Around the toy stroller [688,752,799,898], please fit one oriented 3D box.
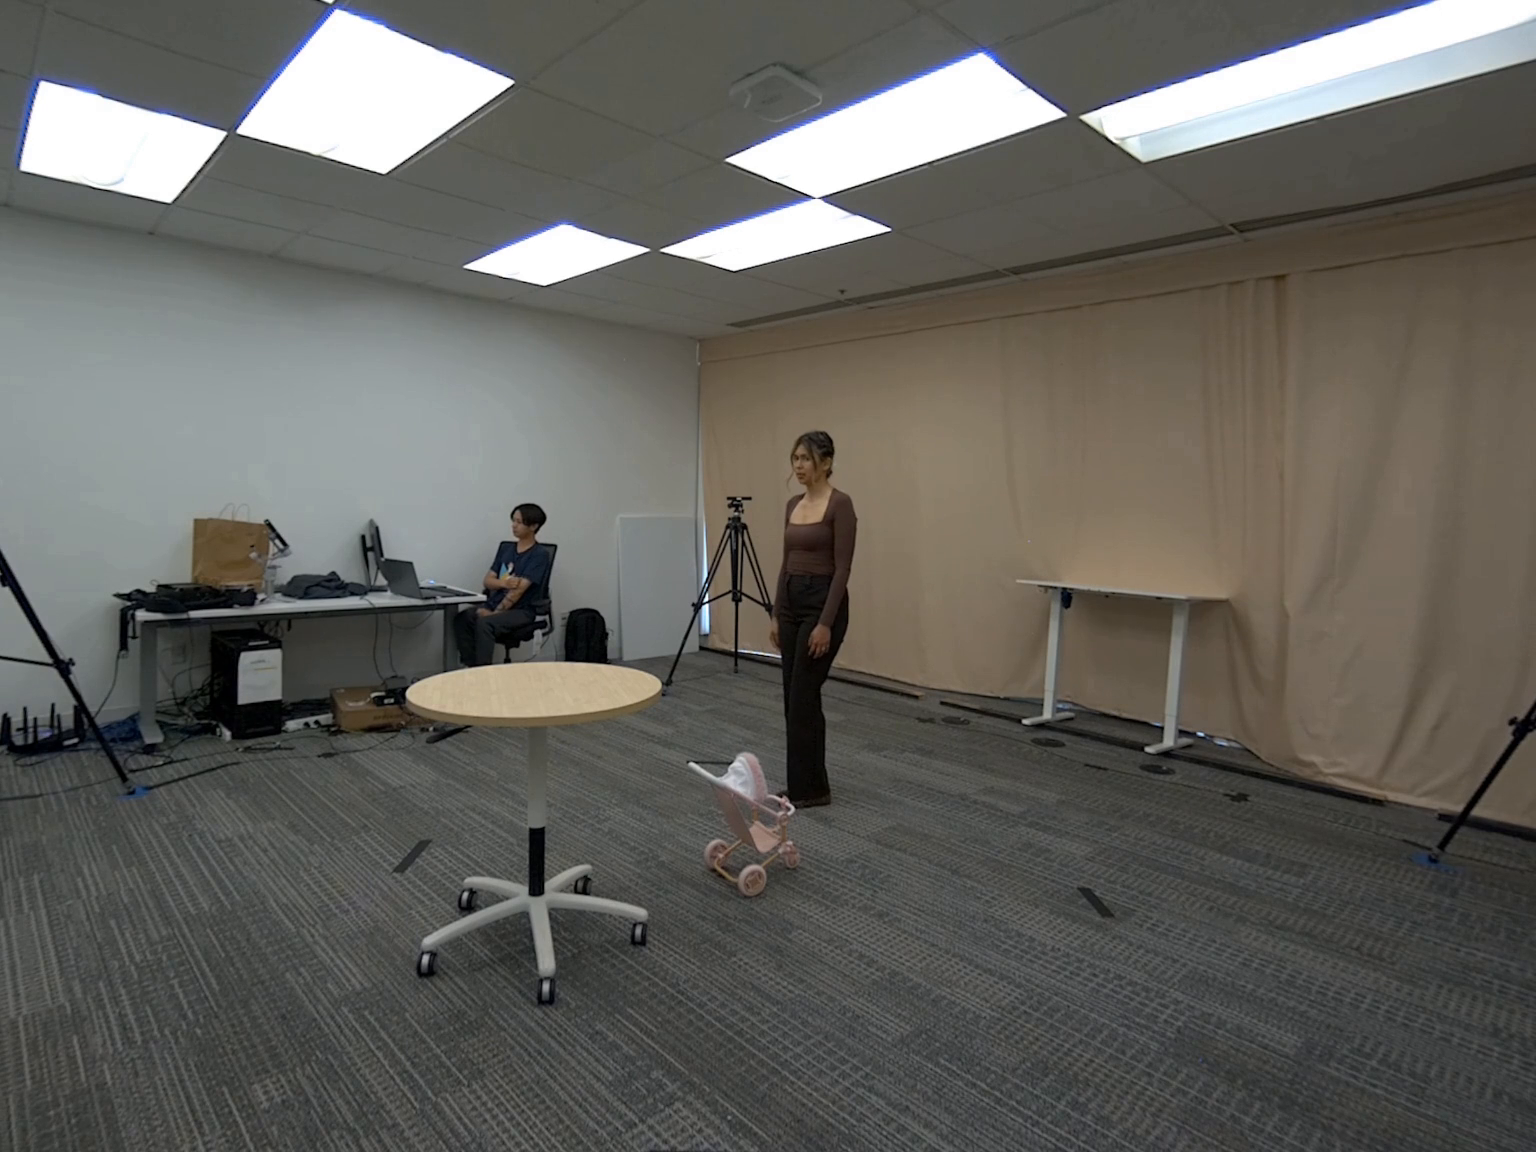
[{"bbox_3d":[-0.070,0.883,3.075,0.337,0.530,0.287,-17,11,-26],"label":"toy stroller"}]
